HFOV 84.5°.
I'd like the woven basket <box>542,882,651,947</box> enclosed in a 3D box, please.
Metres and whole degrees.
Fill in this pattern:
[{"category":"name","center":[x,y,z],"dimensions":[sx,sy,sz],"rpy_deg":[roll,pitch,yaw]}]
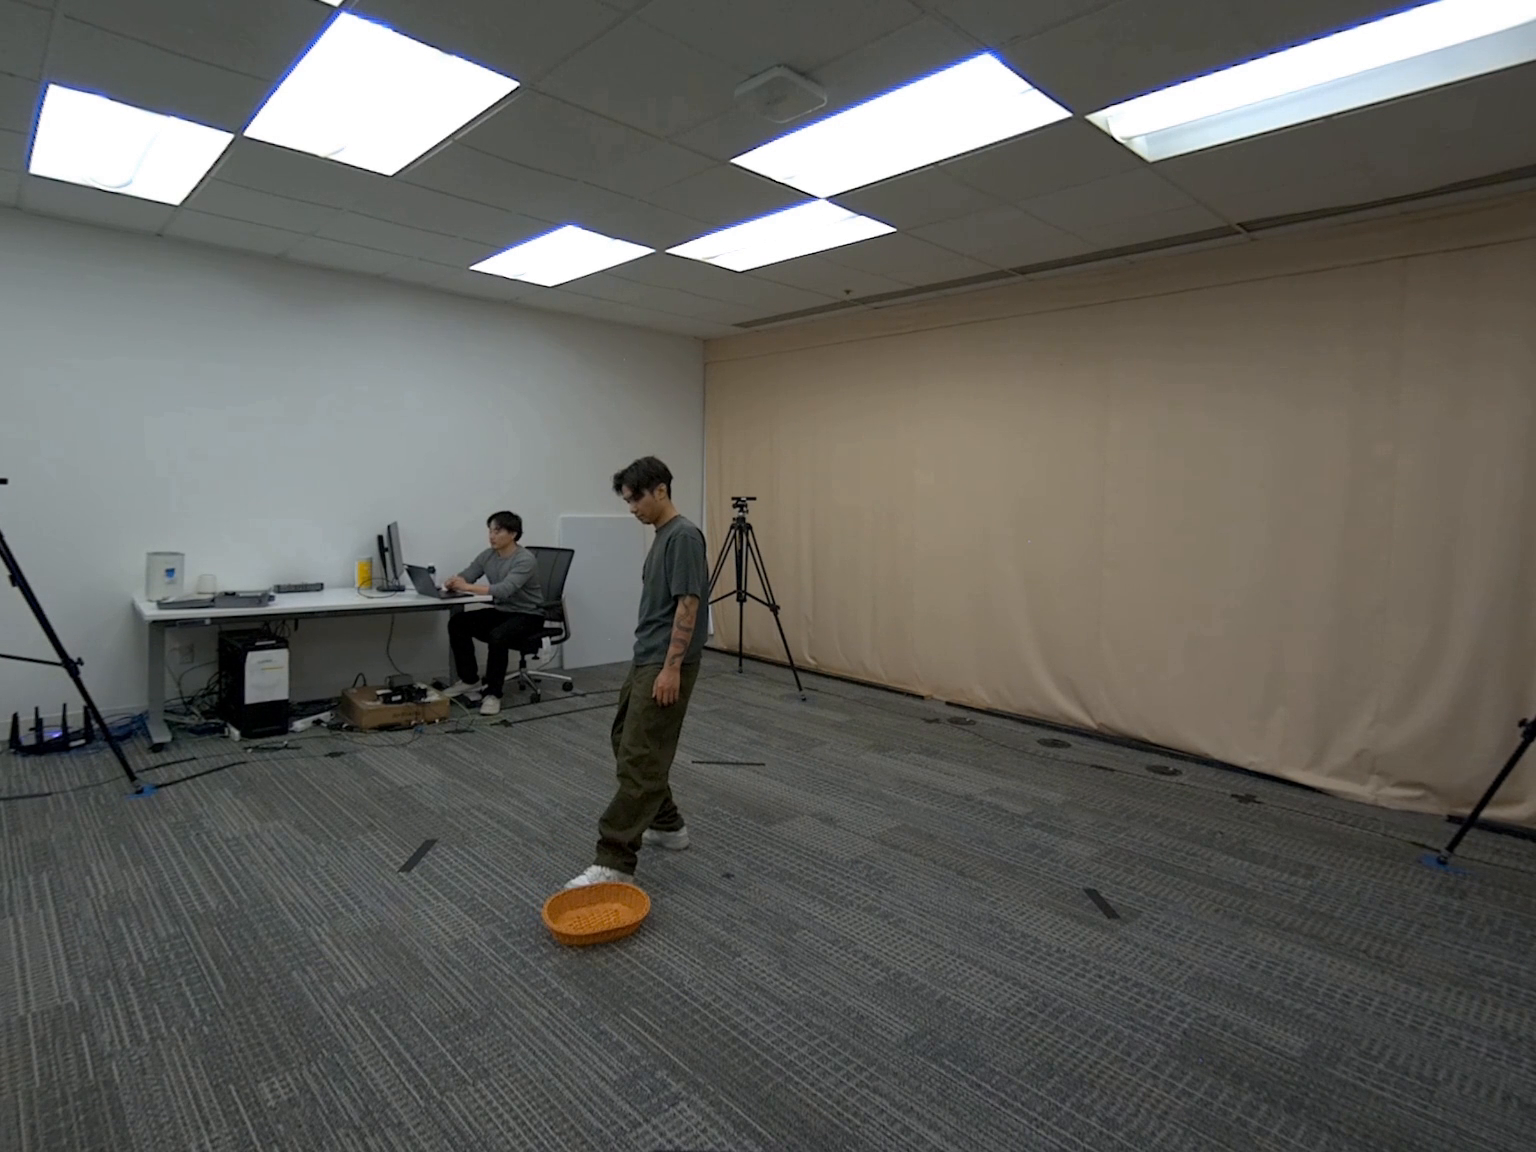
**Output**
[{"category":"woven basket","center":[-0.559,1.088,2.697],"dimensions":[0.344,0.073,0.259],"rpy_deg":[-2,12,-26]}]
